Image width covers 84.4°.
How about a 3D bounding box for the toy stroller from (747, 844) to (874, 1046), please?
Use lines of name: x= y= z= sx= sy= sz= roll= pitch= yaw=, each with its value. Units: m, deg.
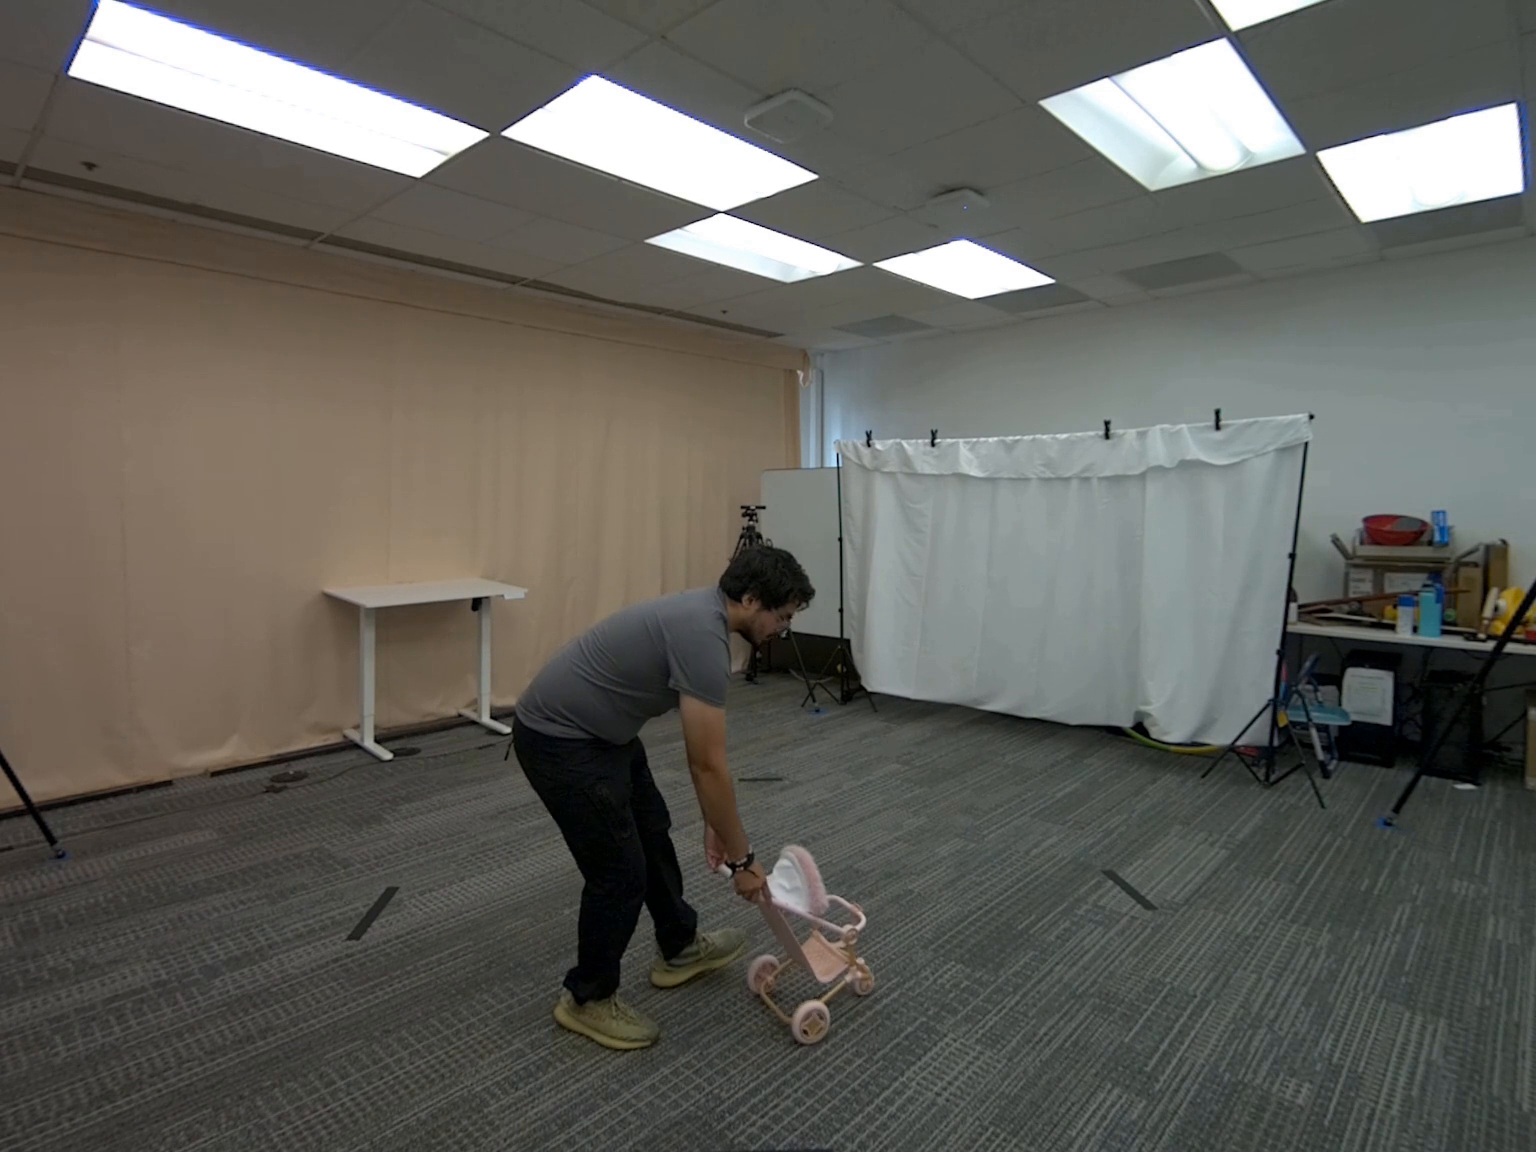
toy stroller: x=0.117 y=0.976 z=2.306 sx=0.336 sy=0.531 sz=0.288 roll=-18 pitch=10 yaw=-21
